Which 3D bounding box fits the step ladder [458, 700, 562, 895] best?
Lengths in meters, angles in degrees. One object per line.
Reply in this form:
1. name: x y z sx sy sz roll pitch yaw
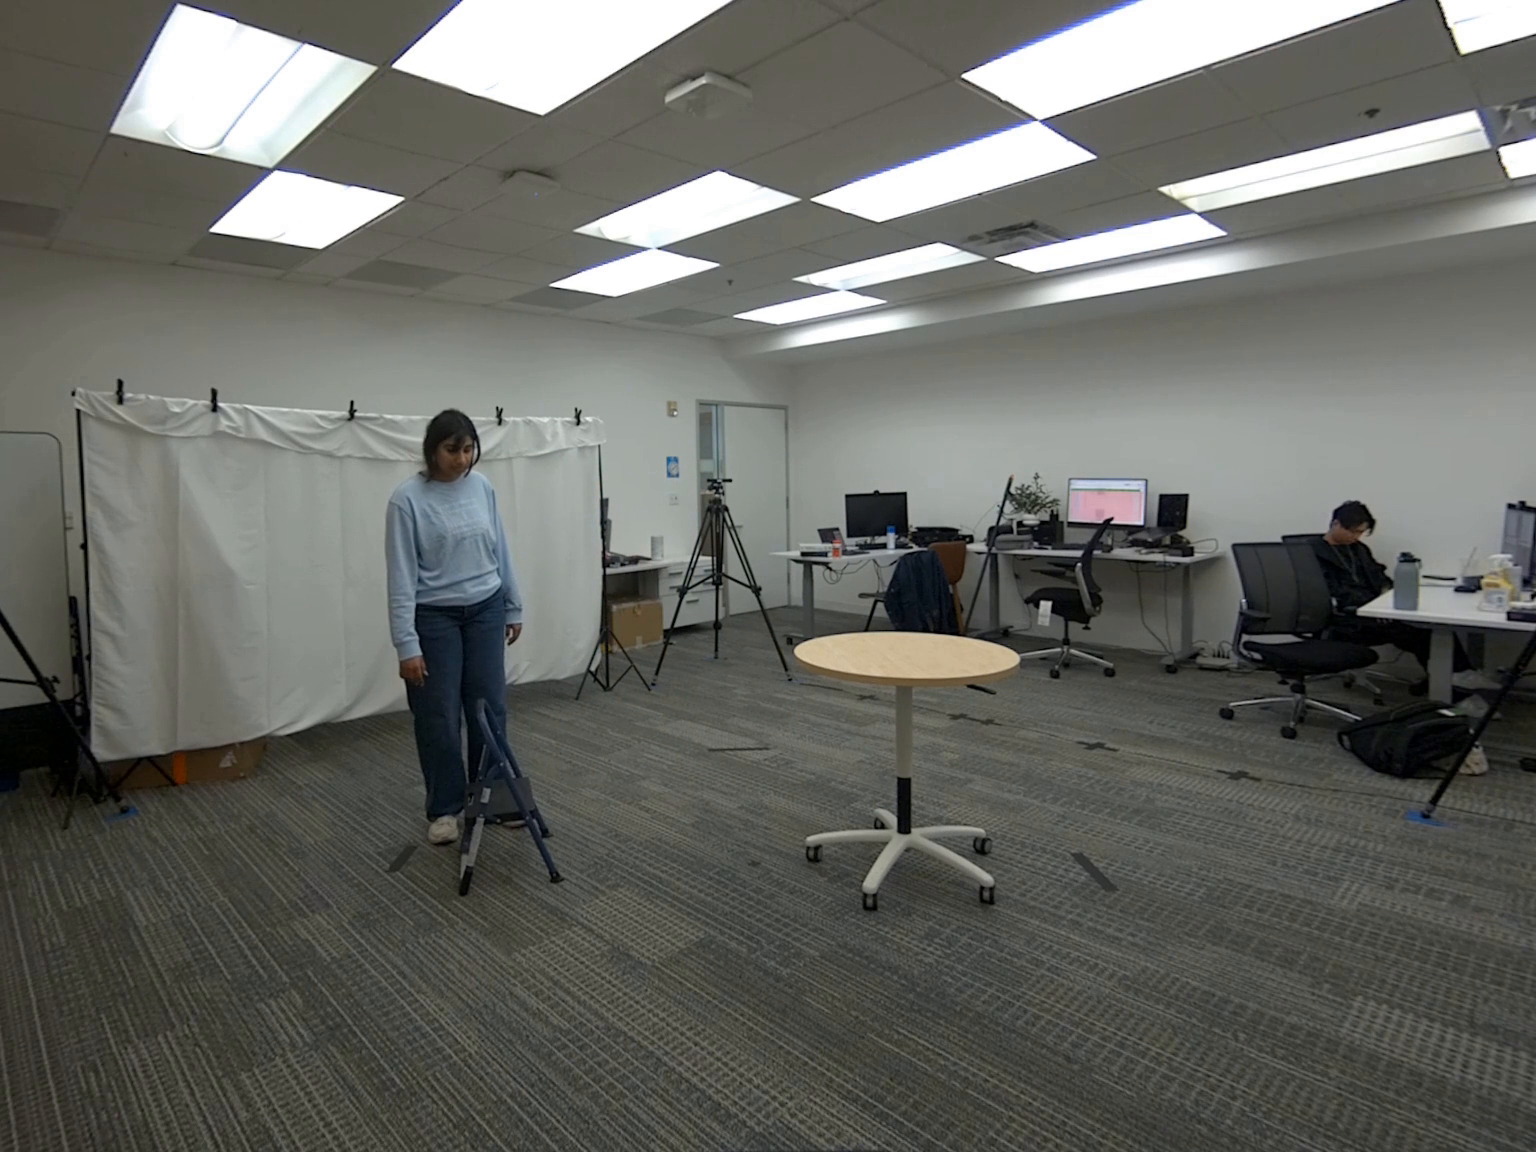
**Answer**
1. step ladder: -0.954 0.759 3.127 0.344 0.604 0.439 -3 4 -19
